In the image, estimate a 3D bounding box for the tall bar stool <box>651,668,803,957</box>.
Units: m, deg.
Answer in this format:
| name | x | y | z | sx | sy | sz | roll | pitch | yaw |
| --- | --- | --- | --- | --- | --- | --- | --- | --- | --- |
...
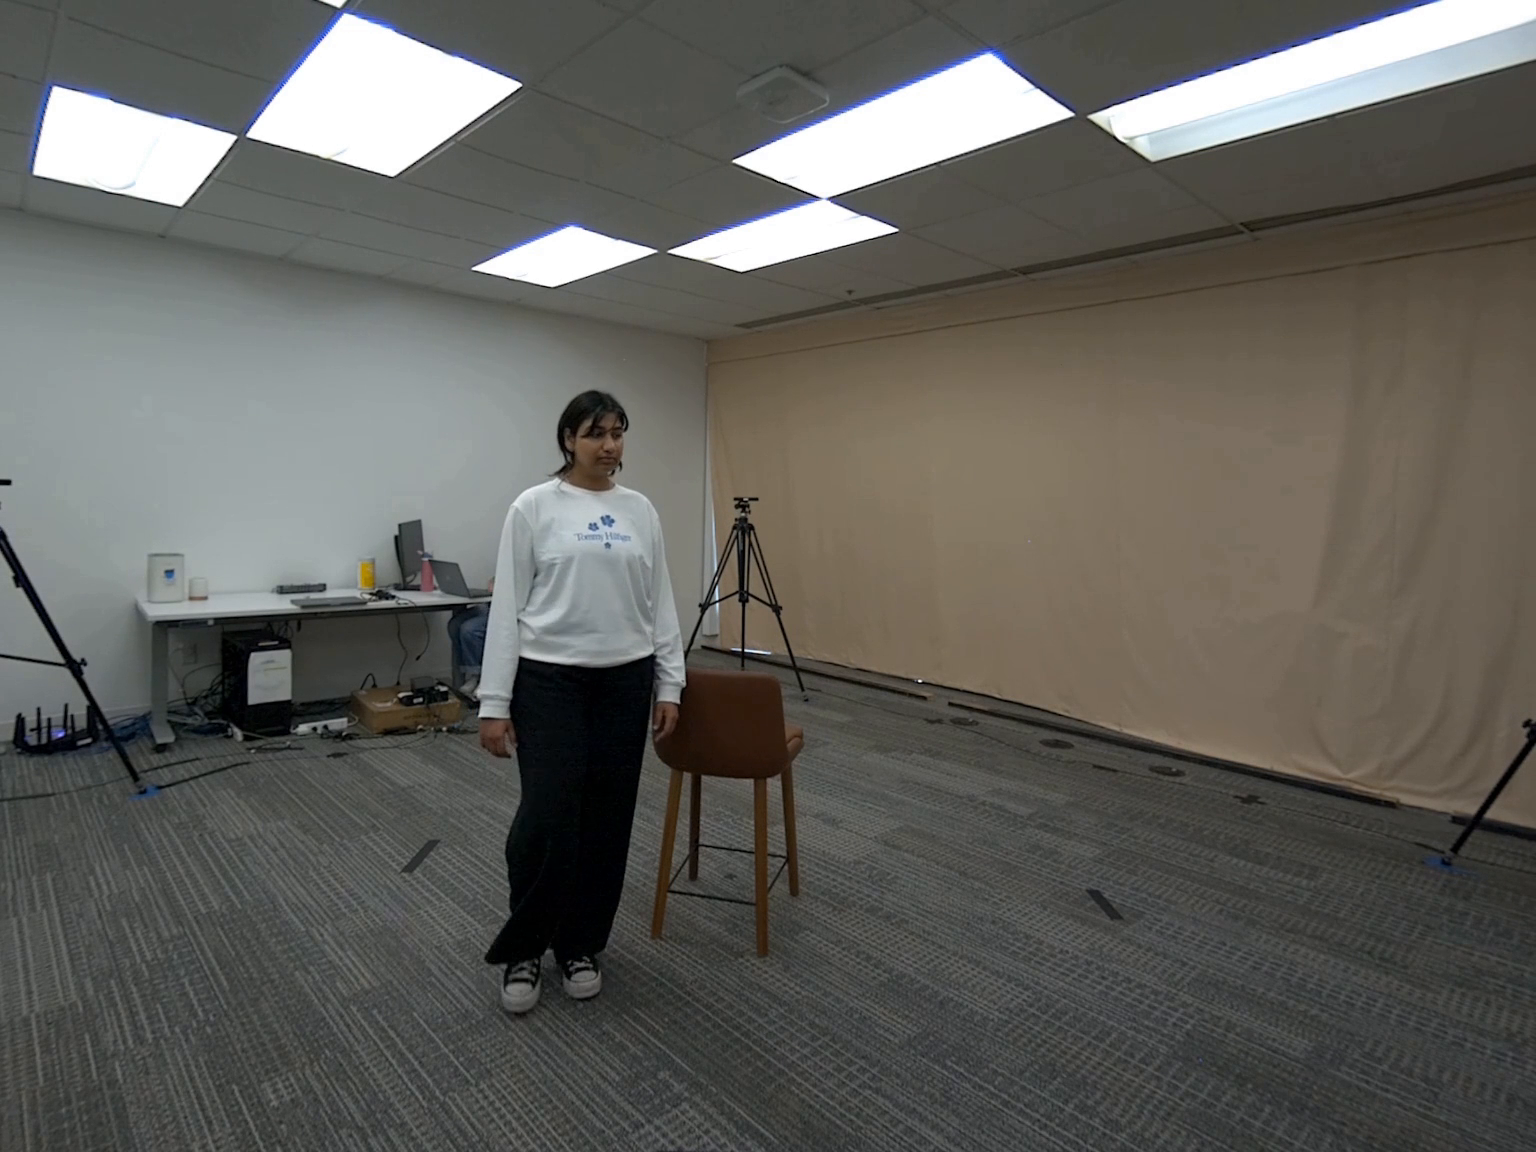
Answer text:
| name | x | y | z | sx | sy | sz | roll | pitch | yaw |
| --- | --- | --- | --- | --- | --- | --- | --- | --- | --- |
| tall bar stool | -0.133 | 0.703 | 2.789 | 0.462 | 0.886 | 0.463 | 2 | 5 | 15 |
